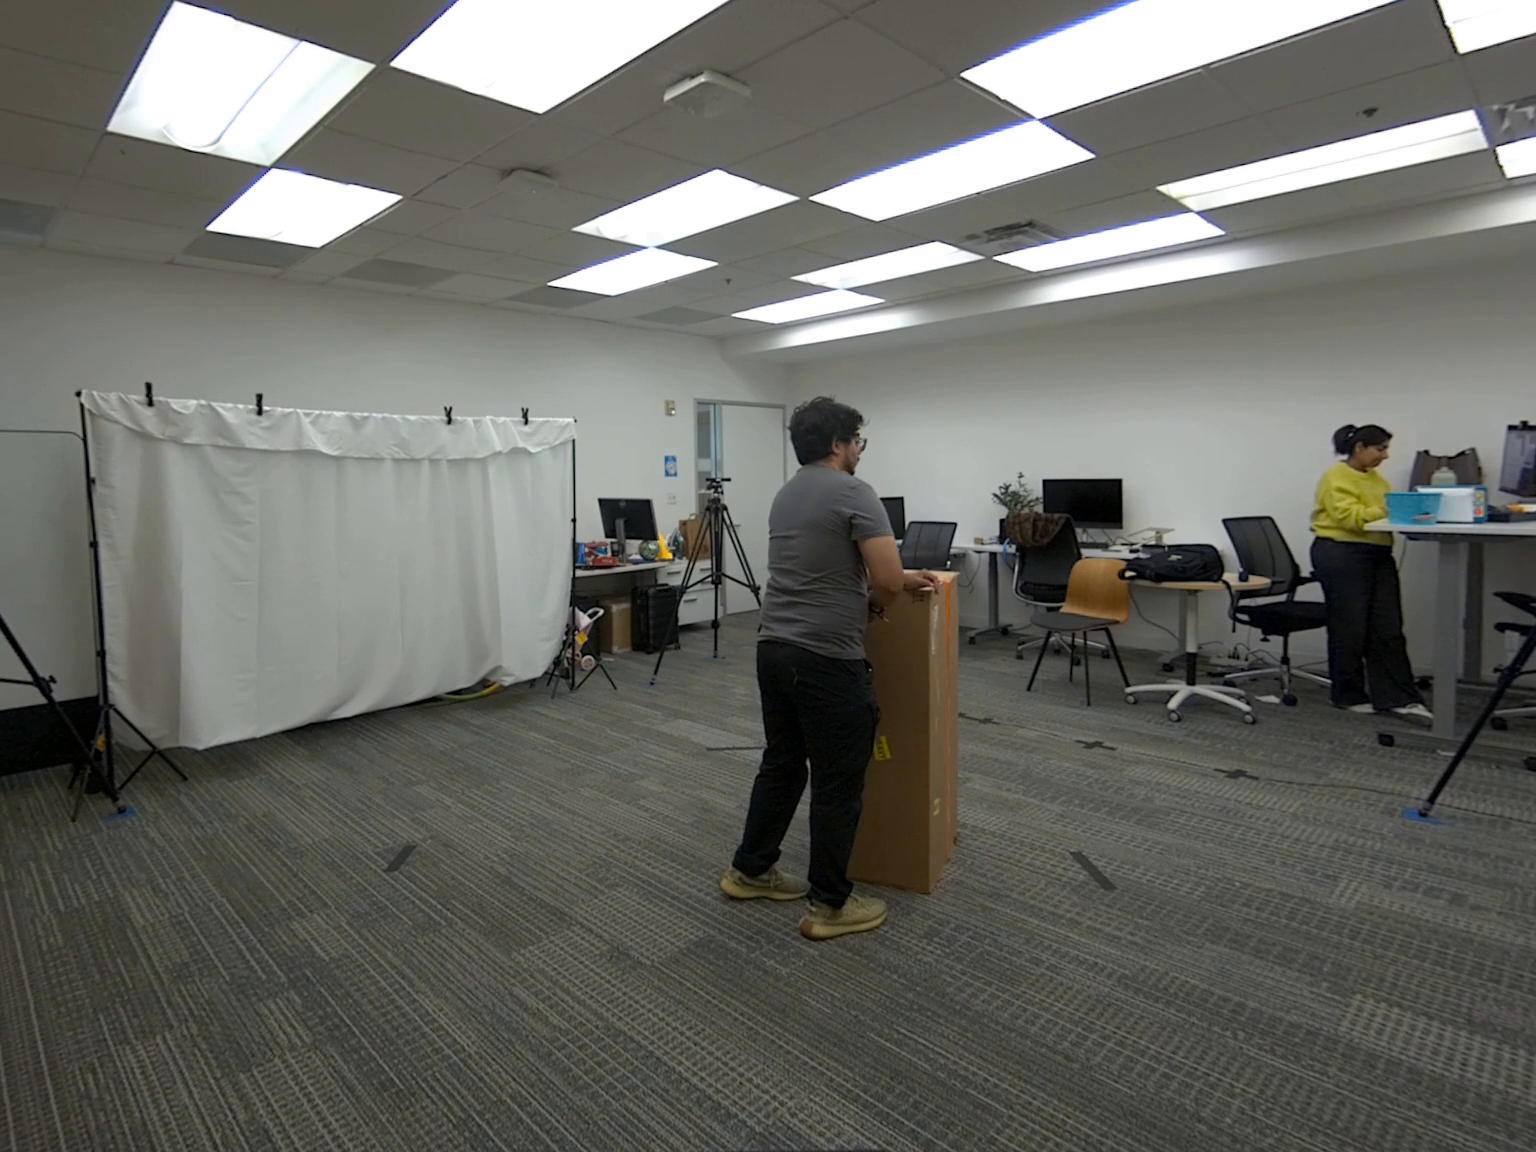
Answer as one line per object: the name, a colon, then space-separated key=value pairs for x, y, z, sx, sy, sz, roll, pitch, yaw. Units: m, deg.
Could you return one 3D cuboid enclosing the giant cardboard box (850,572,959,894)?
giant cardboard box: x=0.456 y=0.516 z=3.166 sx=0.436 sy=1.023 sz=0.566 roll=1 pitch=4 yaw=24
